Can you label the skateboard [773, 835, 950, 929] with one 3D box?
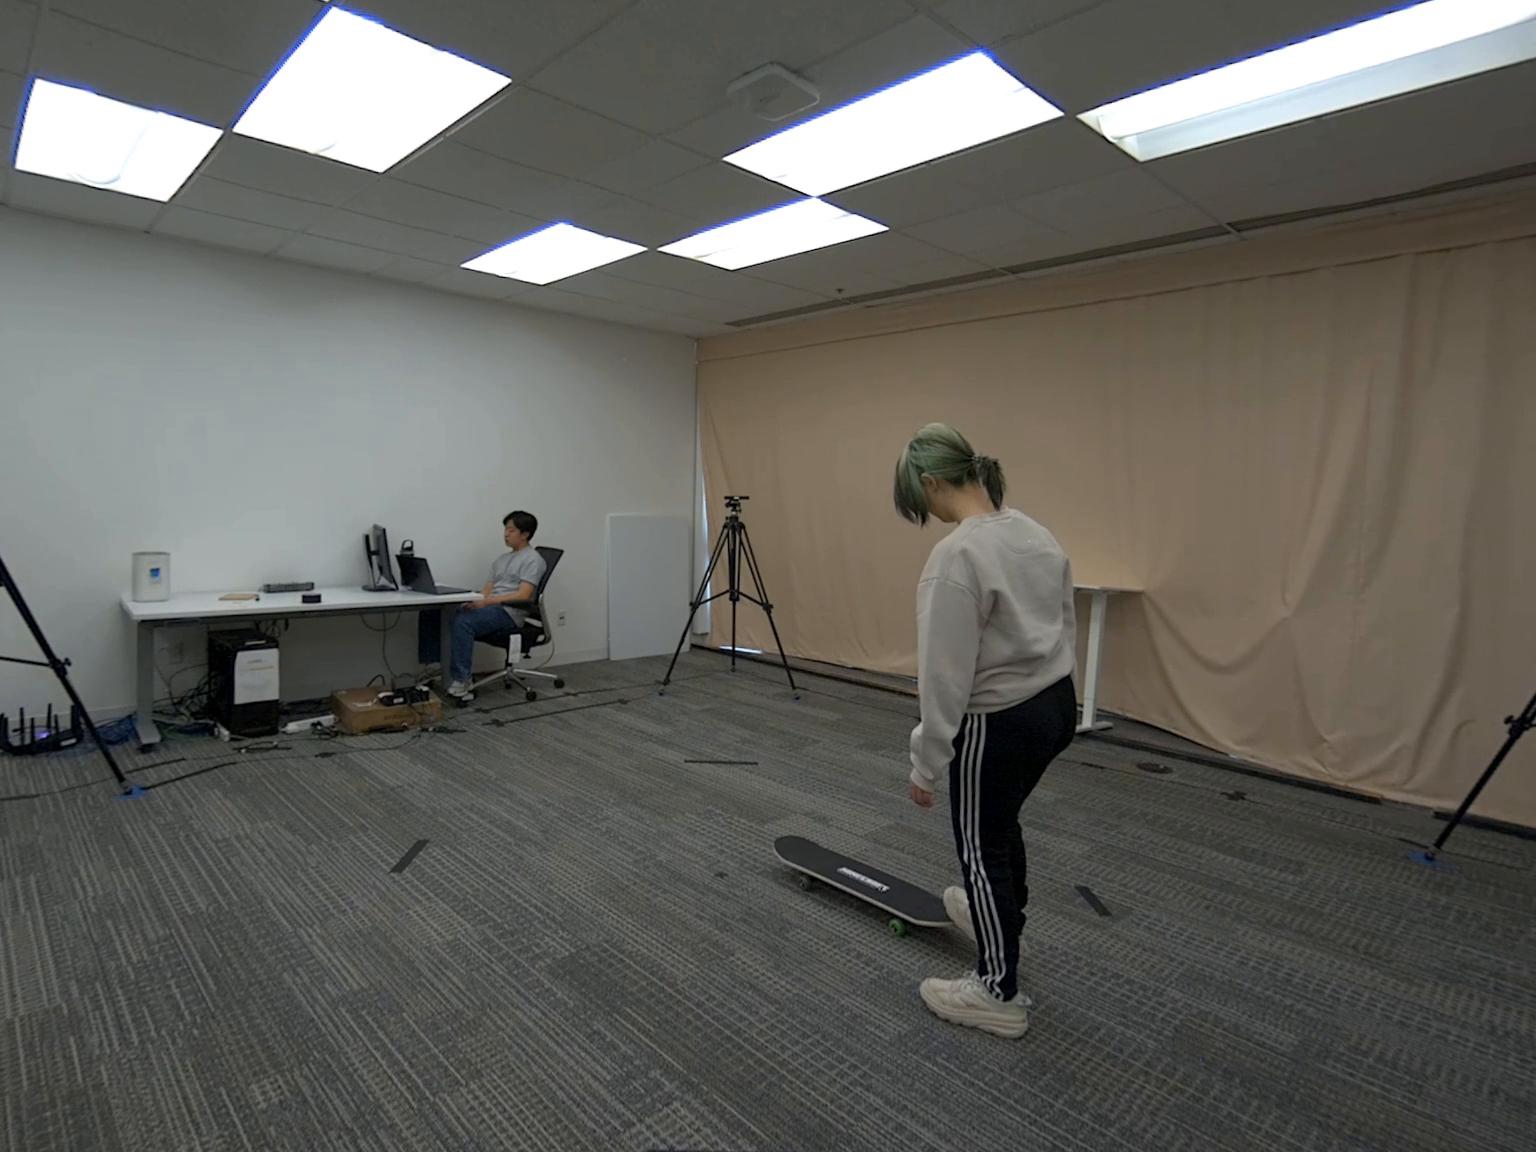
[{"bbox_3d":[0.316,1.079,2.903,0.189,0.110,0.806,-4,8,-44],"label":"skateboard"}]
